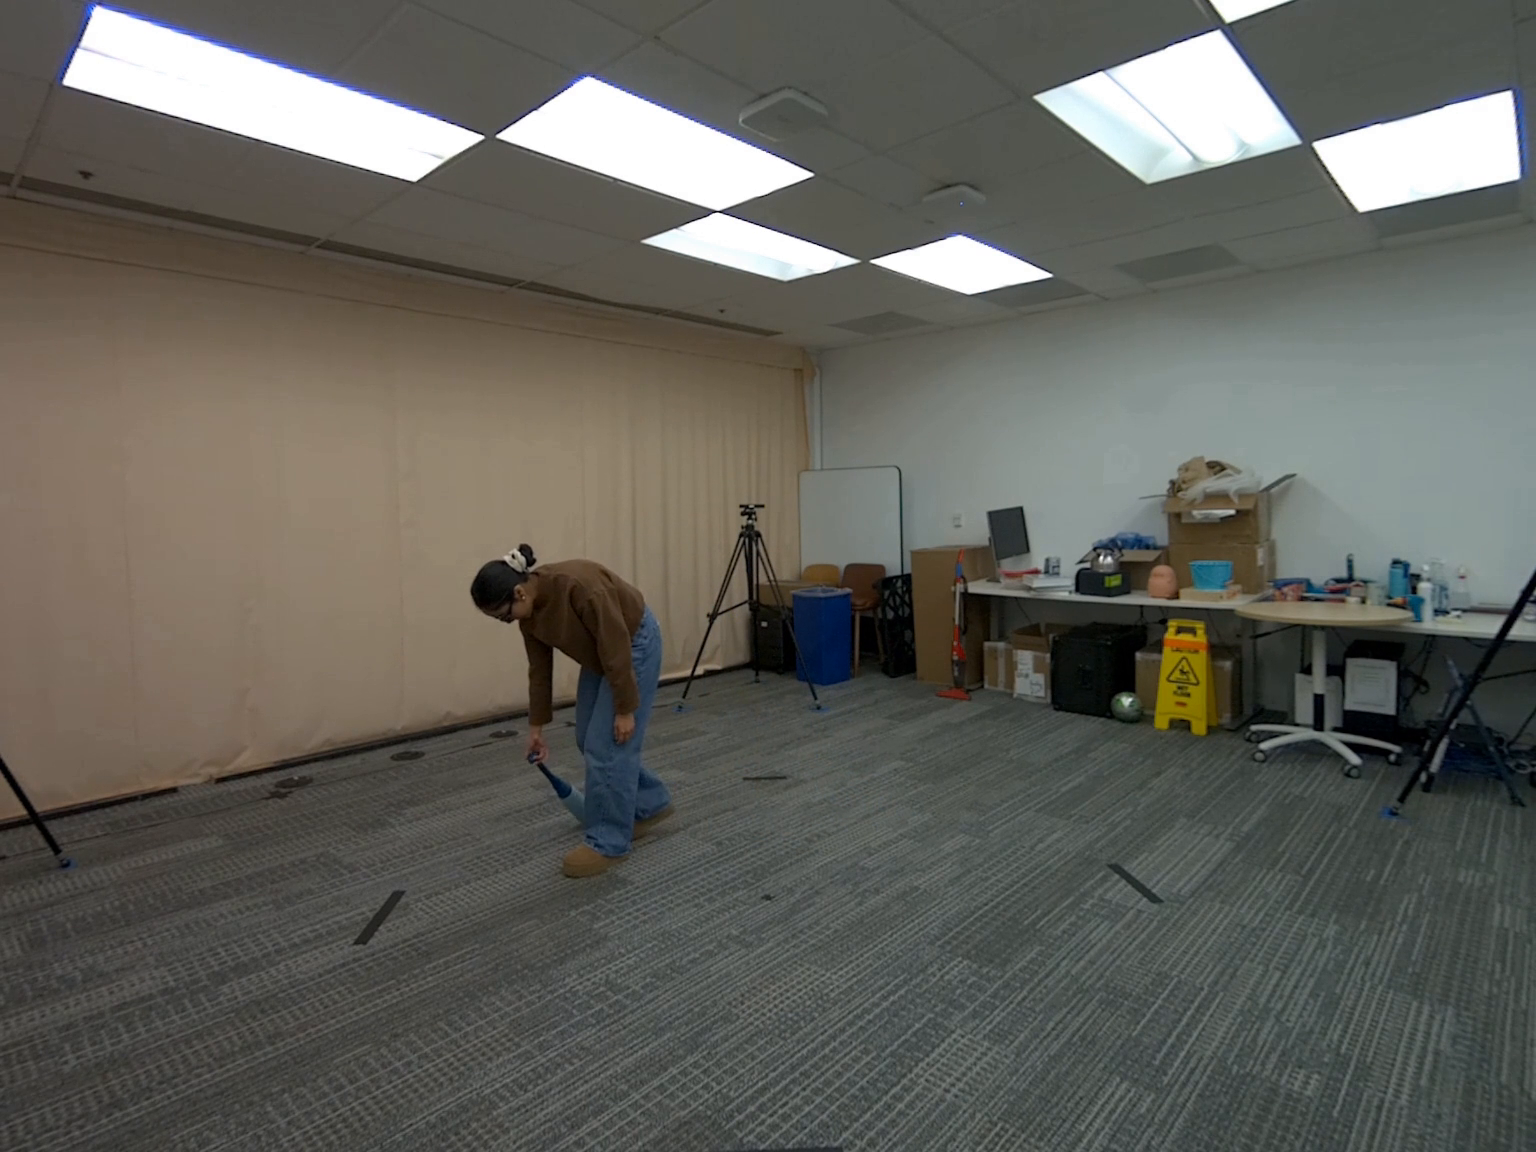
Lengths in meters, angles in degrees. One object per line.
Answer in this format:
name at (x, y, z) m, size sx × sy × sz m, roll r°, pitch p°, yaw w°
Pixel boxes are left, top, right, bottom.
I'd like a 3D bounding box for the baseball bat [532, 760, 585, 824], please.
baseball bat at (-0.868, 0.907, 3.548) m, size 0.091 × 0.089 × 0.526 m, roll 1°, pitch -40°, yaw 28°
